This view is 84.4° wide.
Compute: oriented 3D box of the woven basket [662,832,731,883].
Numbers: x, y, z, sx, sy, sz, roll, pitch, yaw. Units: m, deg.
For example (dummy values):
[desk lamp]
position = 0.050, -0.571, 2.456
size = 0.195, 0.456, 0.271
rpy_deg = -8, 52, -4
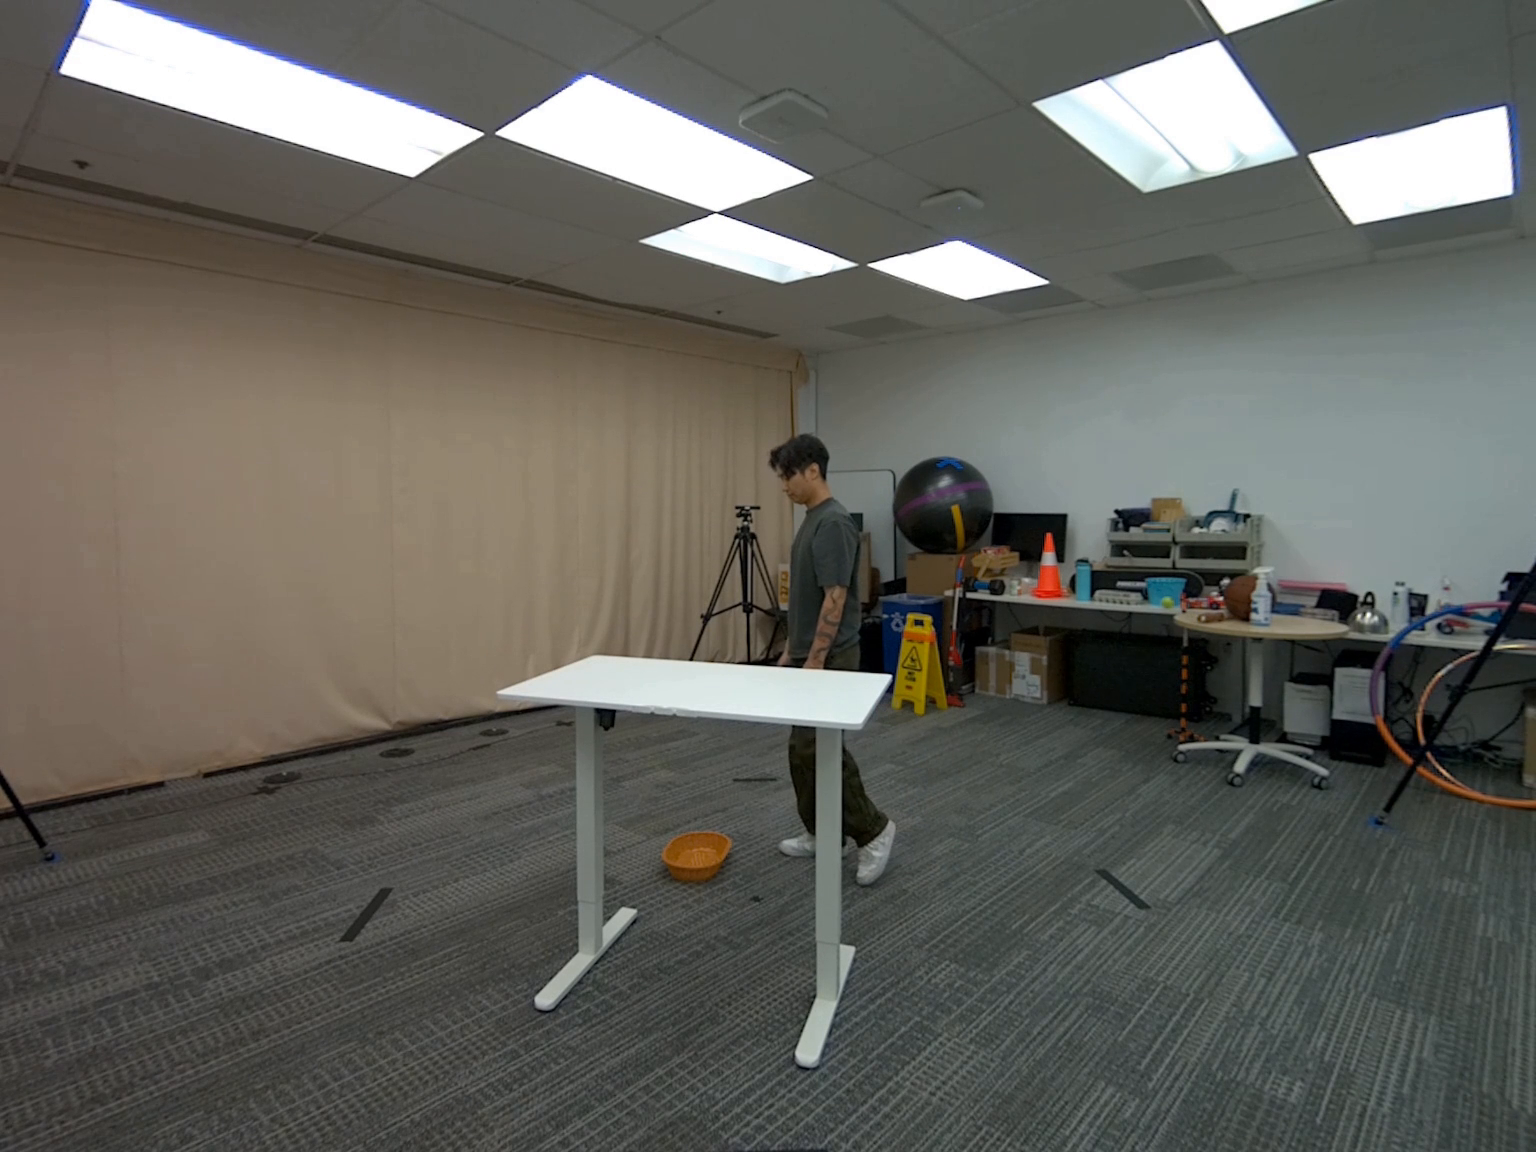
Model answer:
[woven basket]
position = -0.275, 1.088, 3.260
size = 0.256, 0.073, 0.345
rpy_deg = 0, 5, 14
